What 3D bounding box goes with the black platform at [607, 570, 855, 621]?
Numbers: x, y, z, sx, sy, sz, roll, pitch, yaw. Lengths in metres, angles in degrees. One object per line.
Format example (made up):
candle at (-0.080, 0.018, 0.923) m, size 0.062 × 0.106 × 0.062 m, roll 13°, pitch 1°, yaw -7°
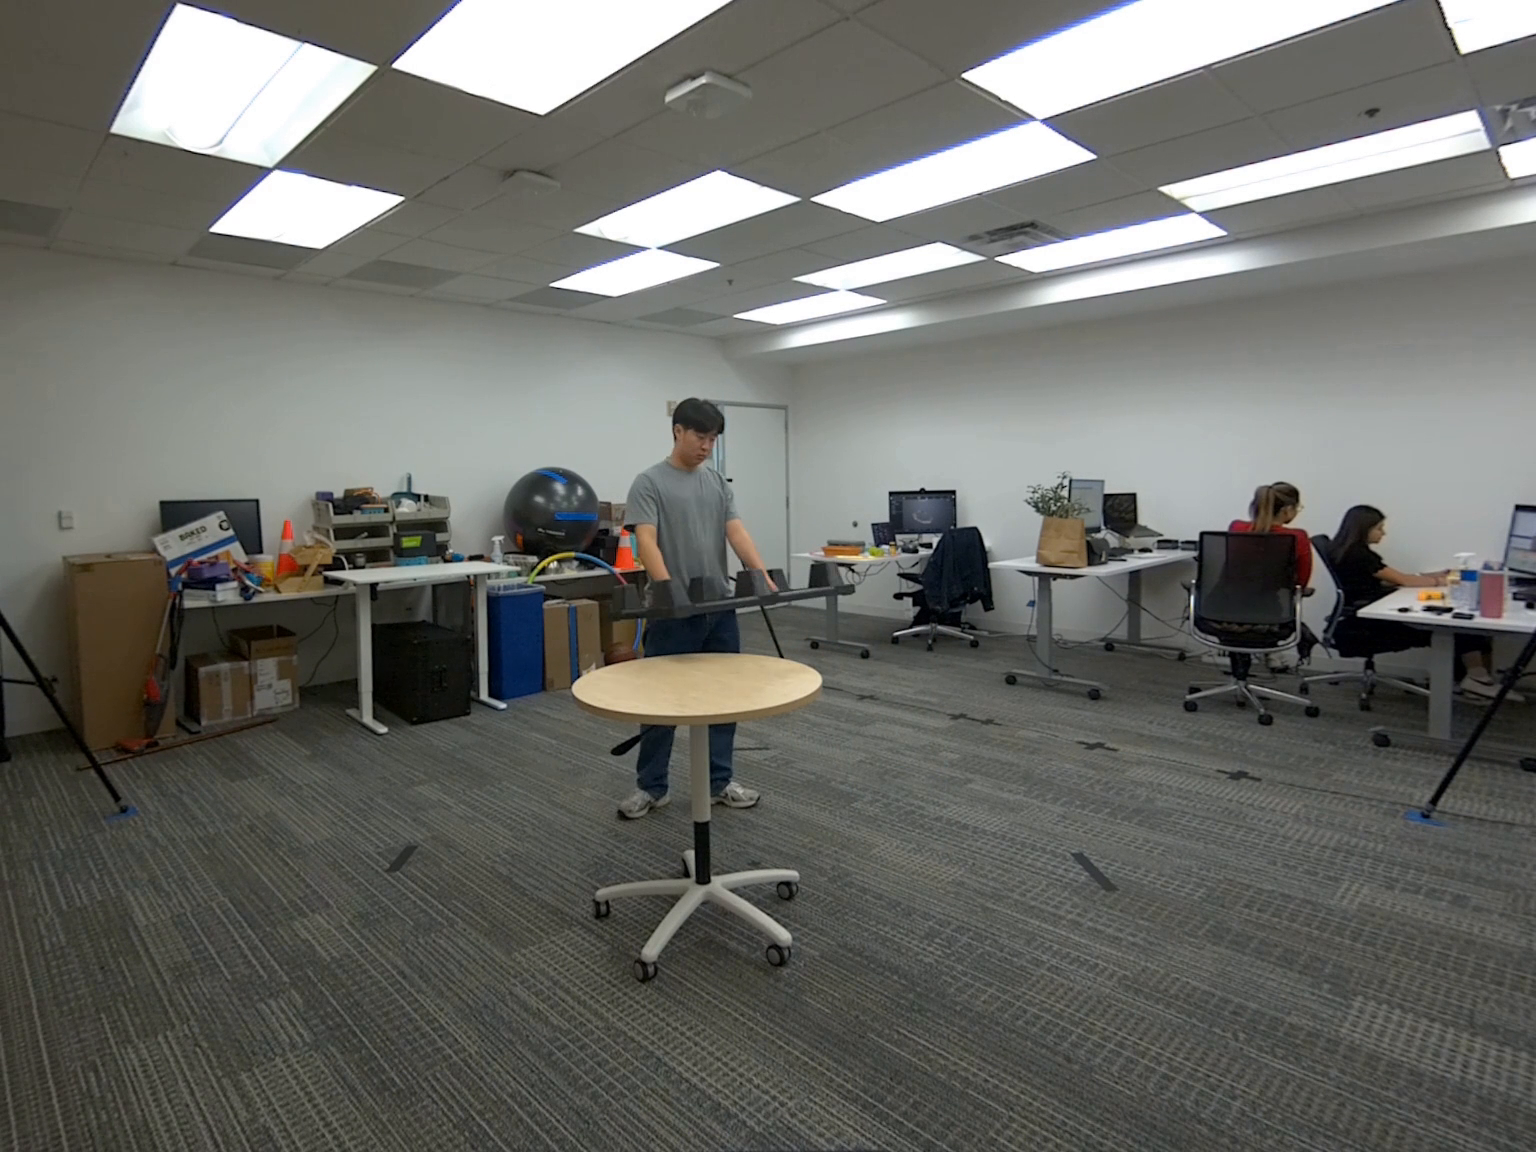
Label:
black platform at (-0.163, 0.065, 3.297) m, size 0.787 × 0.144 × 0.617 m, roll -7°, pitch -1°, yaw -31°
